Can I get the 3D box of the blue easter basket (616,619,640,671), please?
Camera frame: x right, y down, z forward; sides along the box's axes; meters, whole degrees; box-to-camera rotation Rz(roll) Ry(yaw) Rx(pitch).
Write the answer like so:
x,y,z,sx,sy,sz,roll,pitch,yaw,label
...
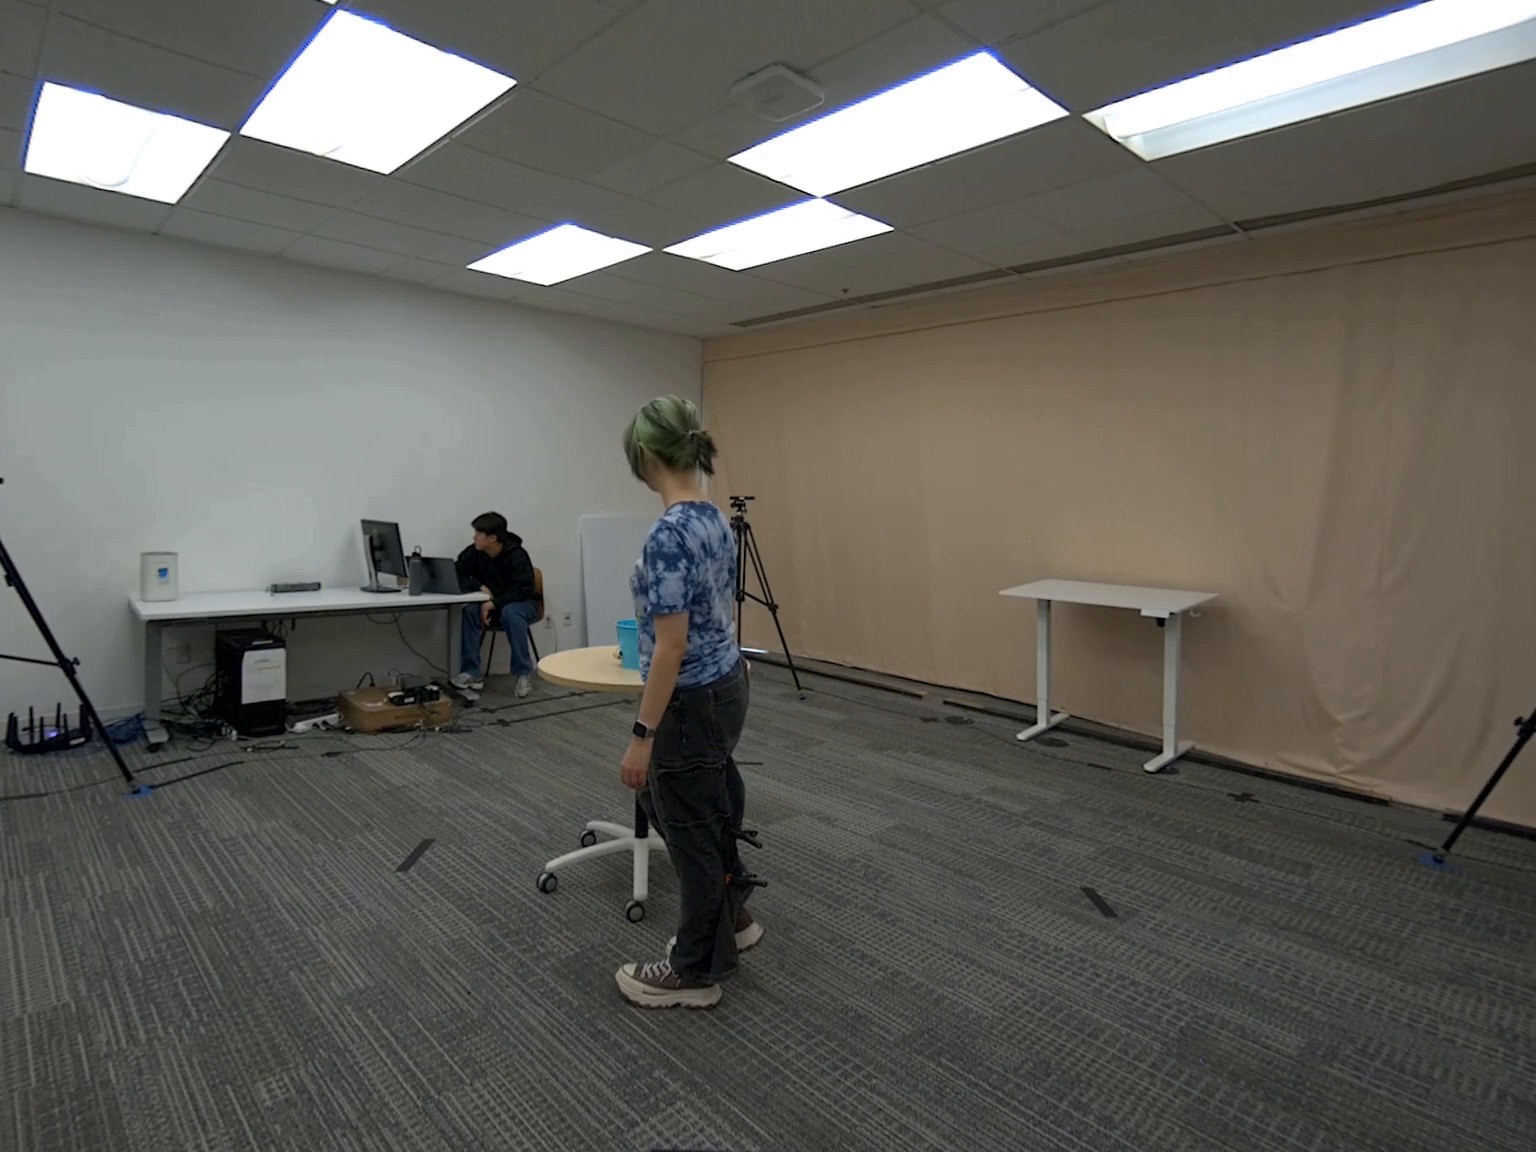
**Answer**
x,y,z,sx,sy,sz,roll,pitch,yaw,label
-0.450,0.249,3.000,0.243,0.155,0.244,1,5,-1,blue easter basket
